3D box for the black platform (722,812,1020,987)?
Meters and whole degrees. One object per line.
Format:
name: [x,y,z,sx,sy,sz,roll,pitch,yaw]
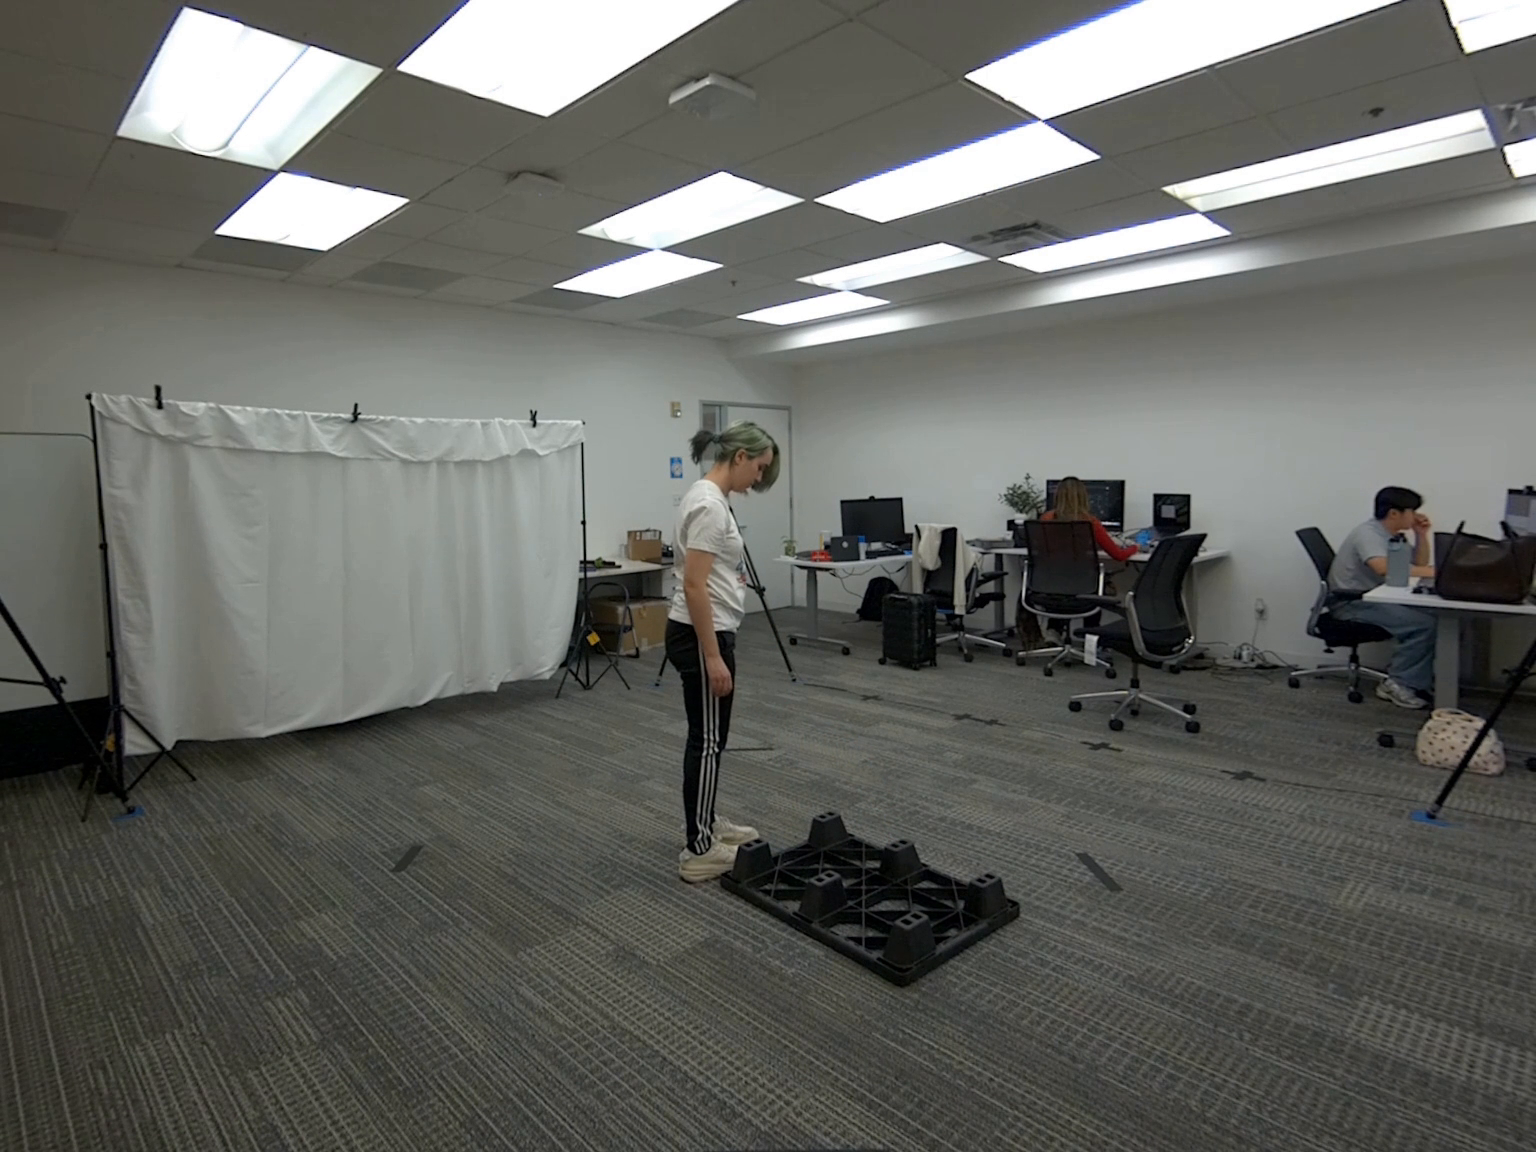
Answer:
black platform: [0.311,1.008,2.825,0.589,0.143,0.830,-6,7,-41]
